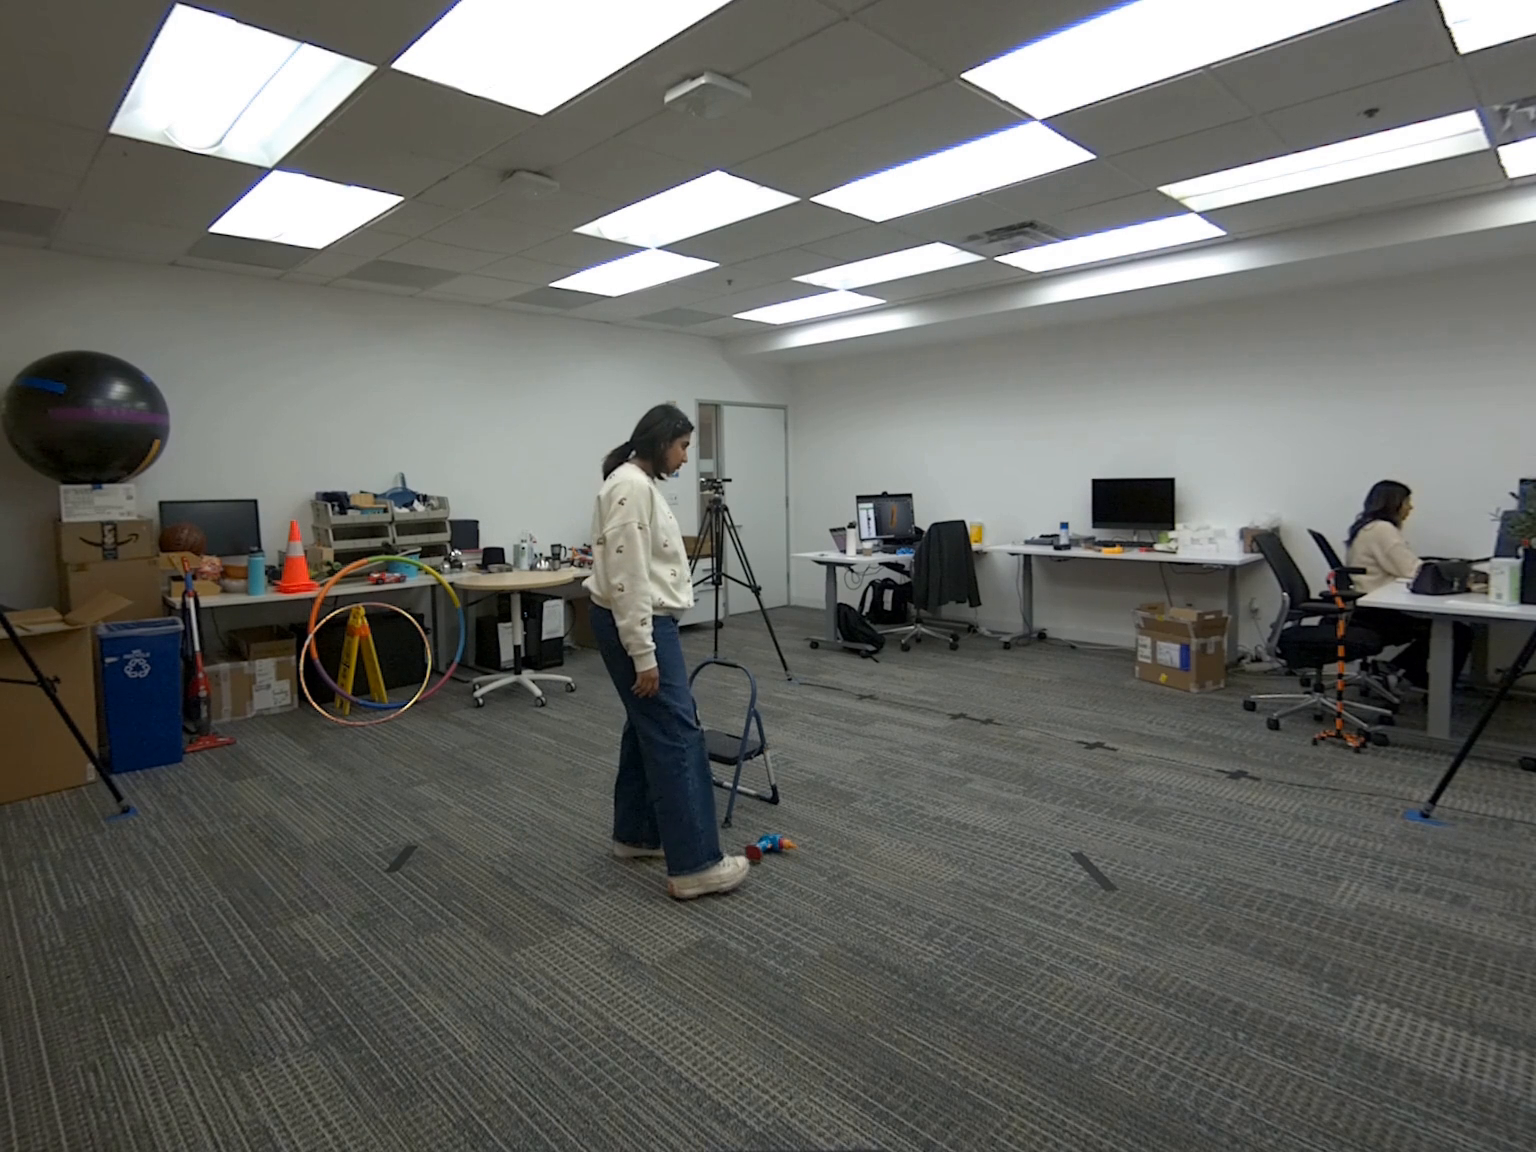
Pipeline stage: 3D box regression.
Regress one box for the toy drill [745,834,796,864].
[{"bbox_3d":[0.008,1.003,3.167,0.174,0.061,0.142,-2,3,35],"label":"toy drill"}]
